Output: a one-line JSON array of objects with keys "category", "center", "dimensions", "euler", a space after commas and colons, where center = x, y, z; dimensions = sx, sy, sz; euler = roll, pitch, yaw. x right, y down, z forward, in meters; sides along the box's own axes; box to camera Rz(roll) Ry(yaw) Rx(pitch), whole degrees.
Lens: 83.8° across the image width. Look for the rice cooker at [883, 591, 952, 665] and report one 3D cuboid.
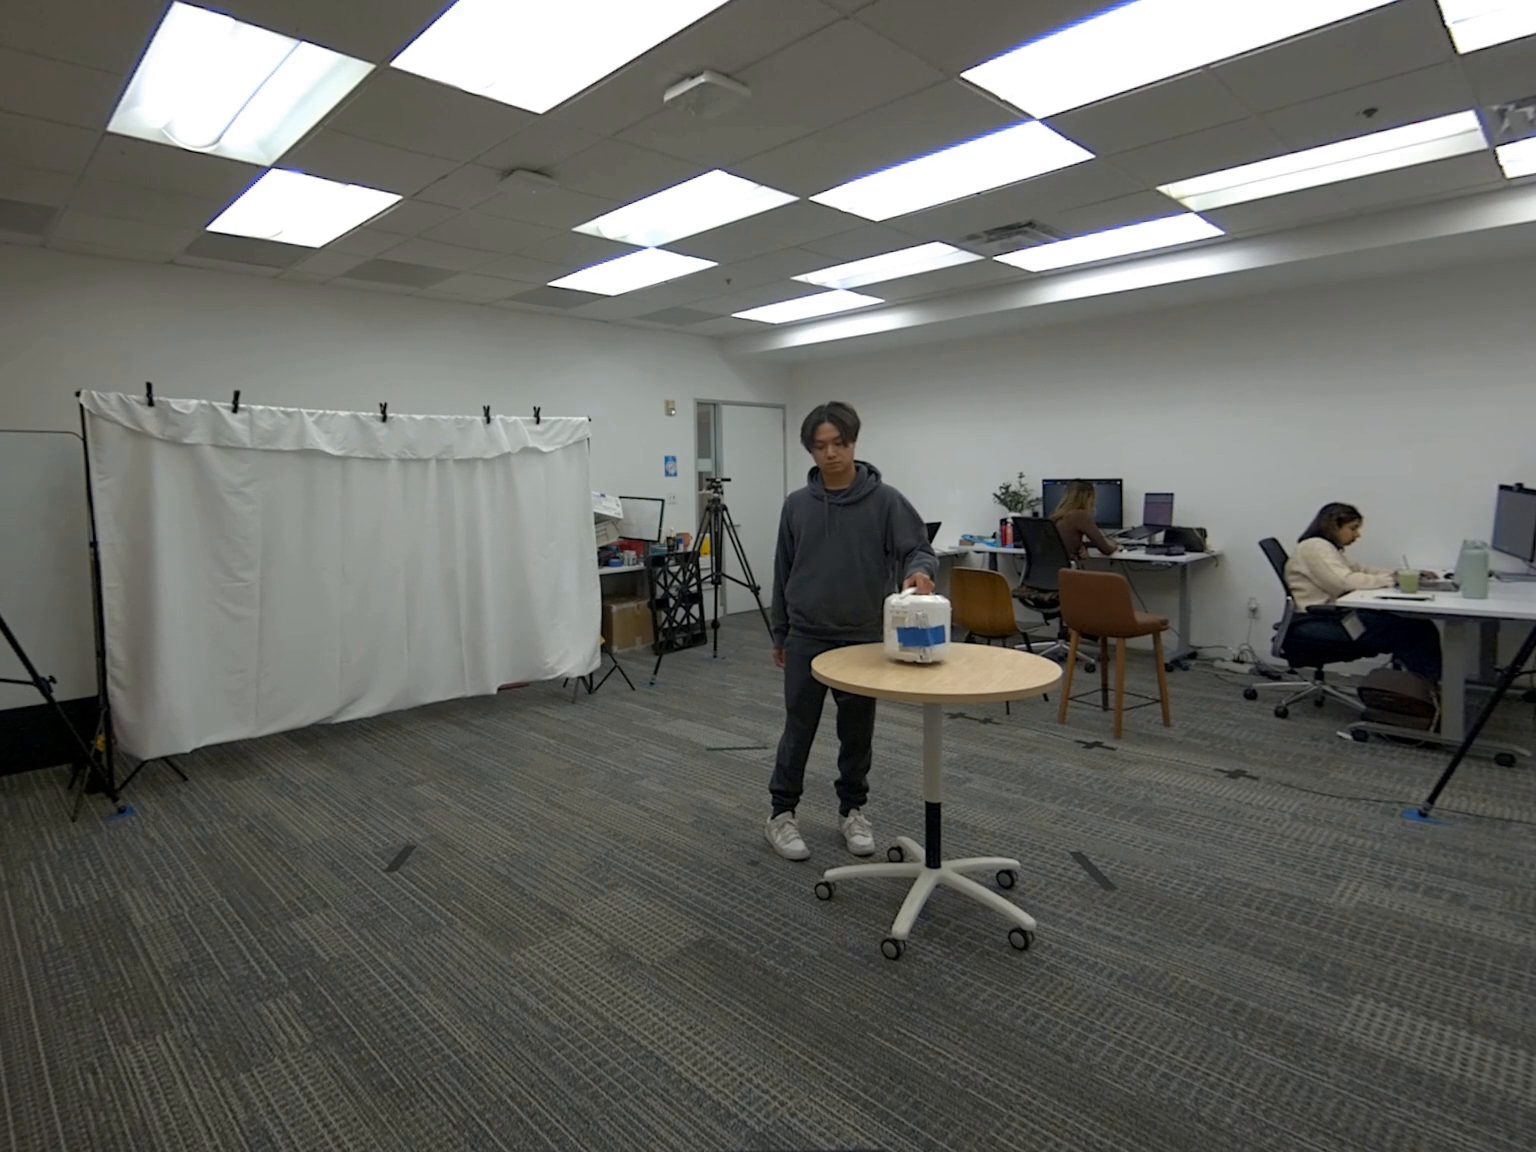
[{"category": "rice cooker", "center": [0.469, 0.153, 2.752], "dimensions": [0.224, 0.233, 0.214], "euler": [1, 0, 43]}]
